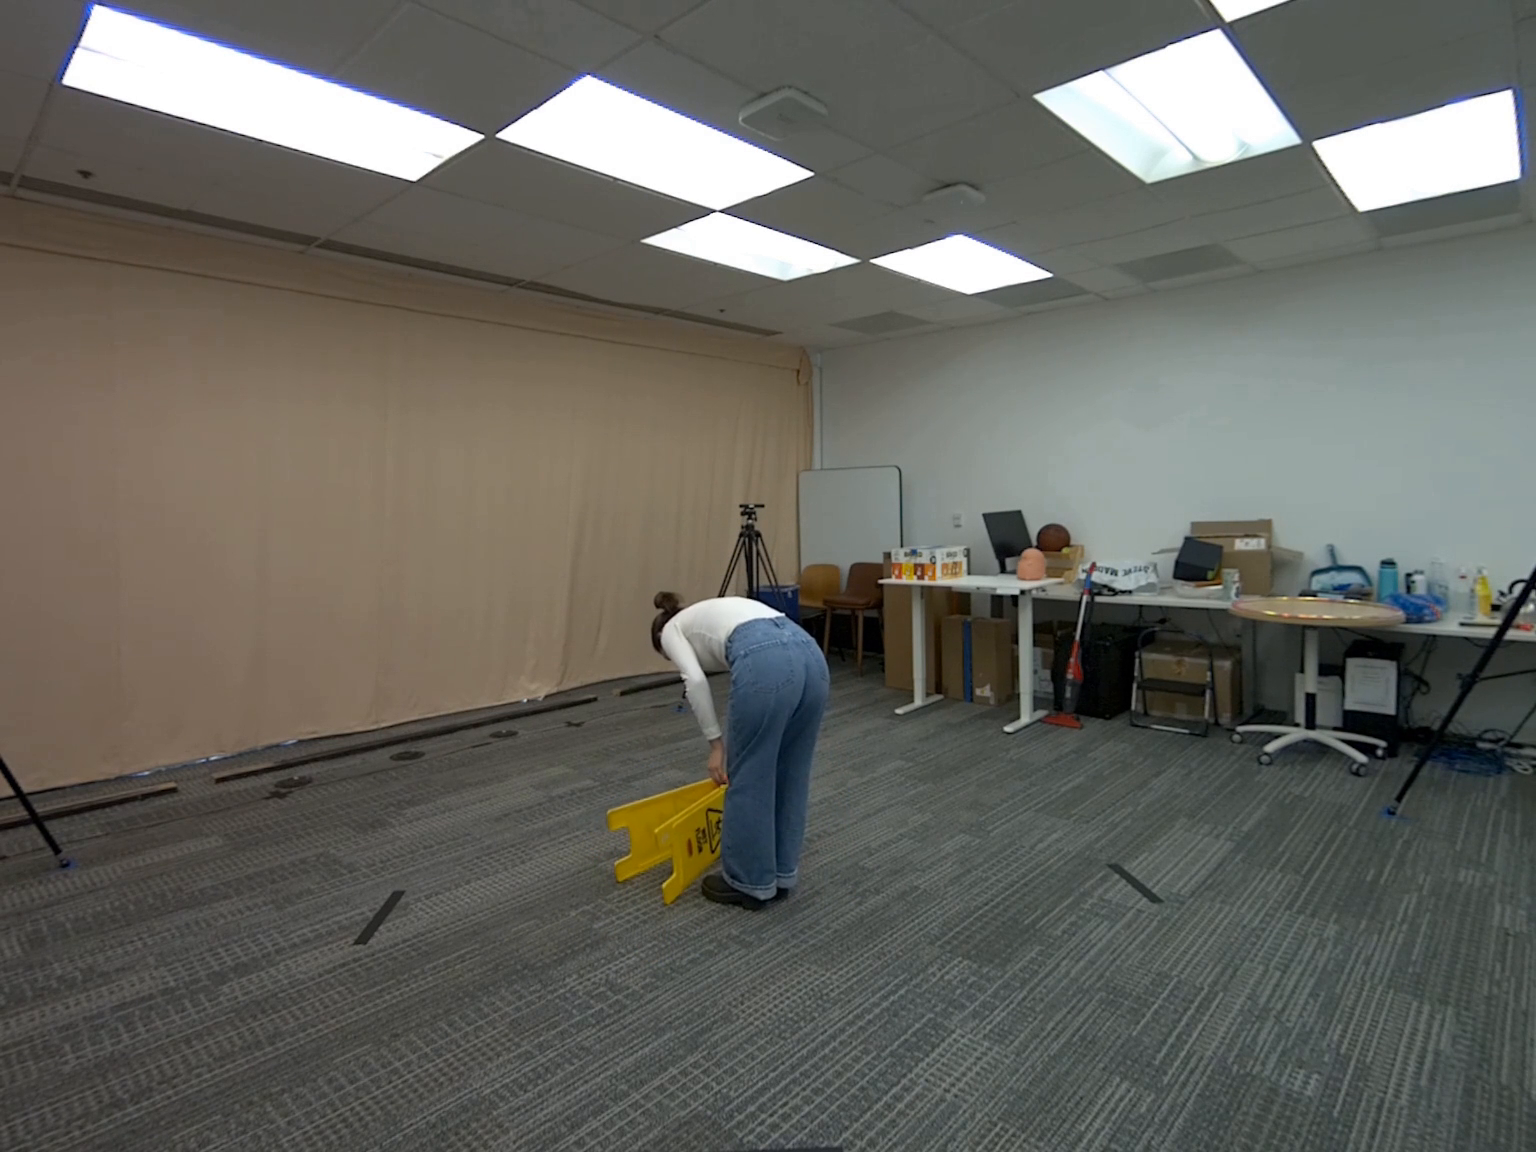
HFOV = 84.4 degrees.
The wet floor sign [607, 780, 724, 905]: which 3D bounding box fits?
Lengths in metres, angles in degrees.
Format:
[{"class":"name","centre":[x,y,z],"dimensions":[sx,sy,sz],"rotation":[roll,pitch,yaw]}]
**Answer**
[{"class":"wet floor sign","centre":[-0.259,0.947,3.235],"dimensions":[0.629,0.280,0.299],"rotation":[-17,14,-43]}]
